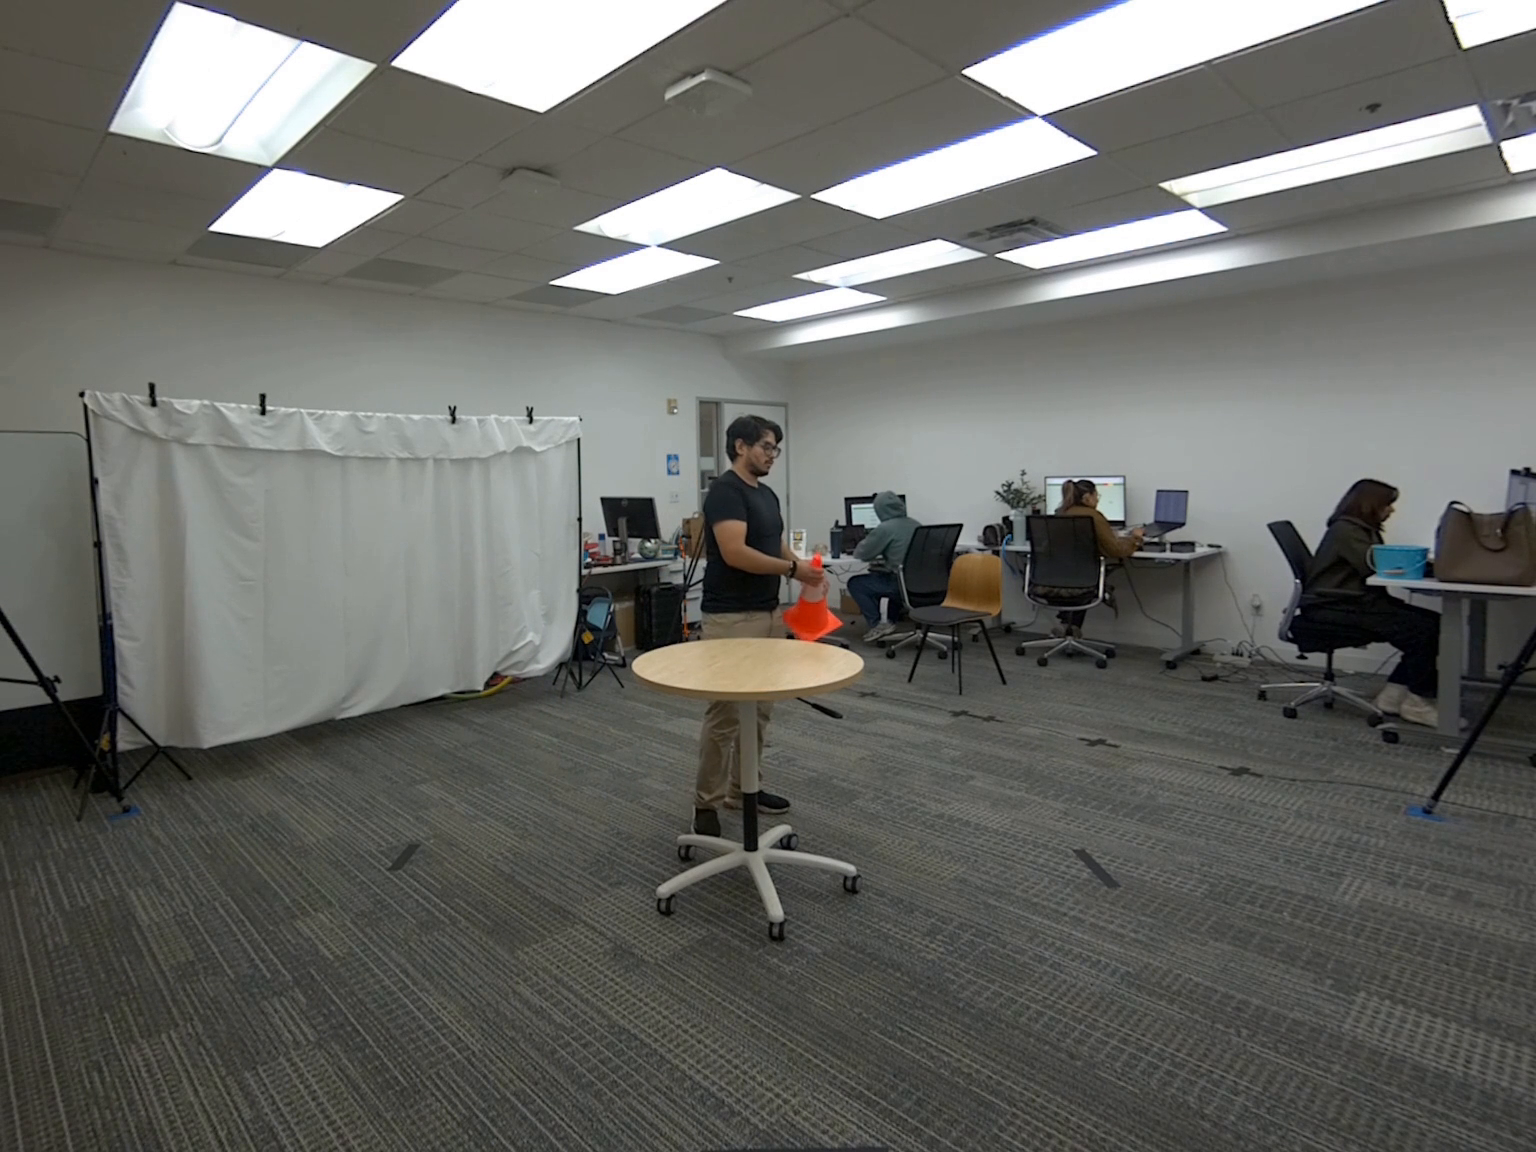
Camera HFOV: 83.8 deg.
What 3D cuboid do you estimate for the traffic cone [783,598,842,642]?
[{"bbox_3d":[0.179,0.054,3.500,0.201,0.373,0.213,-26,51,-25],"label":"traffic cone"}]
